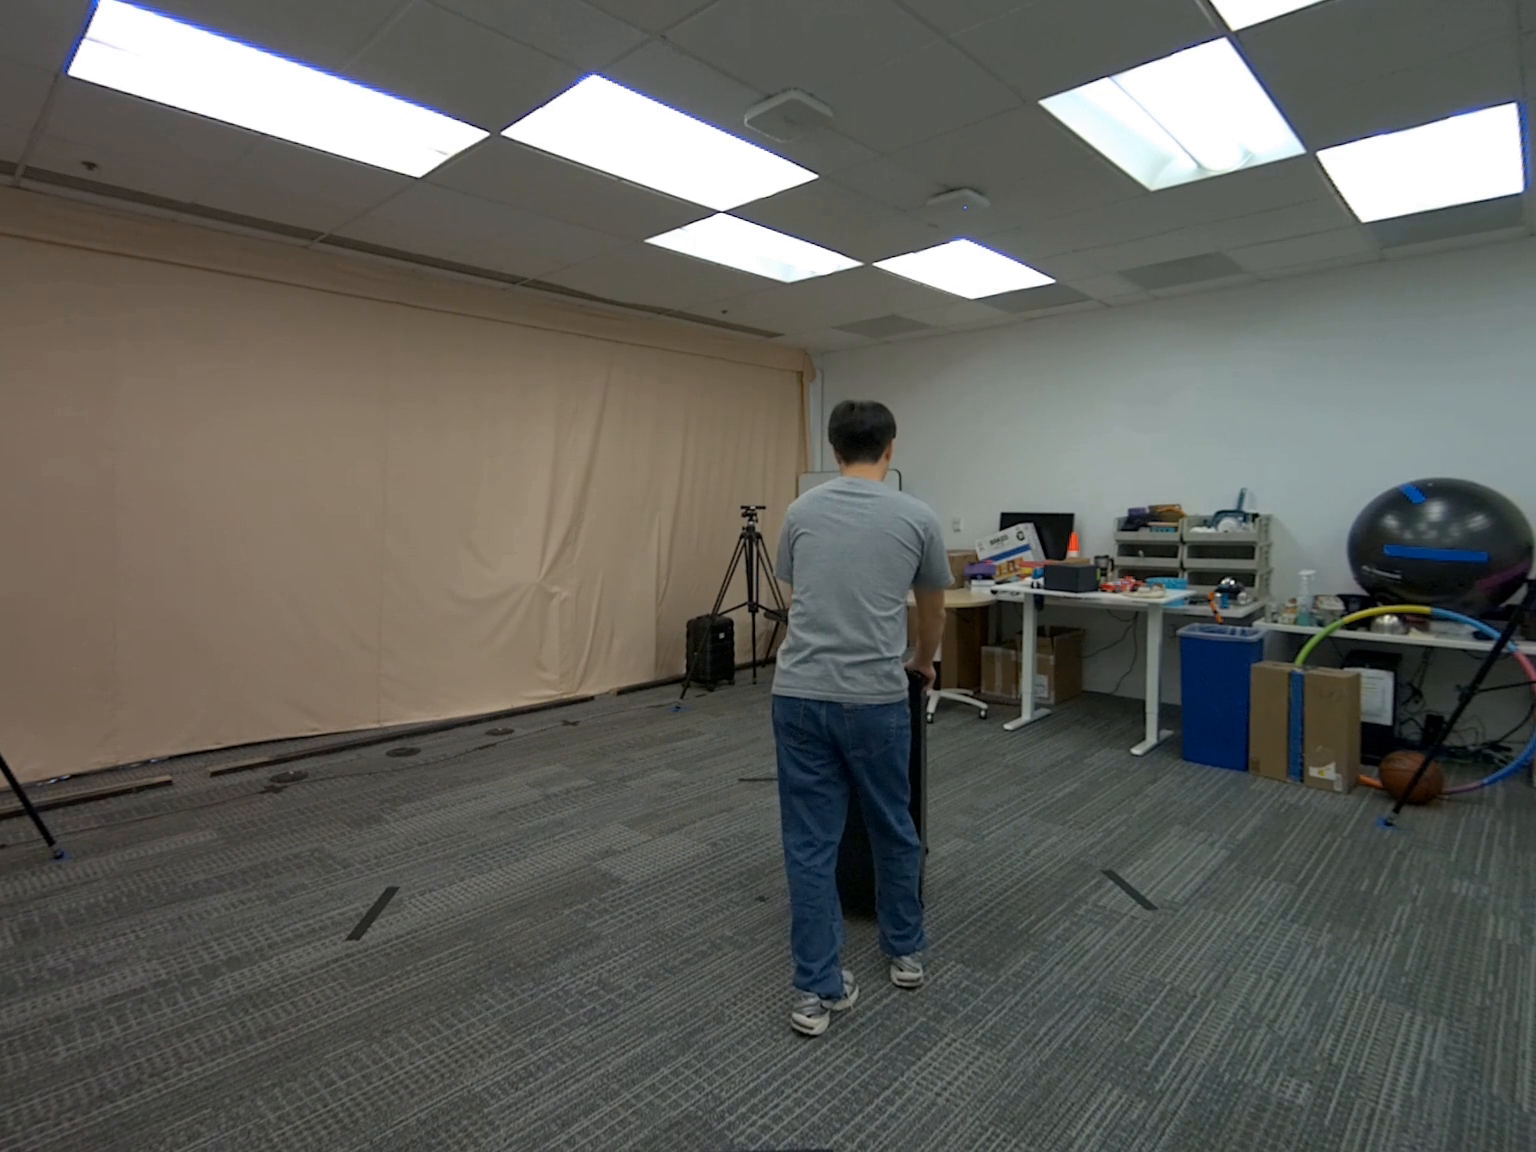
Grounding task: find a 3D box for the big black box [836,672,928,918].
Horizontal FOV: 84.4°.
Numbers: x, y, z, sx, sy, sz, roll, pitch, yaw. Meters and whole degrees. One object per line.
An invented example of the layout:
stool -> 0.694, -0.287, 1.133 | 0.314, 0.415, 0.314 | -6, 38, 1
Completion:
big black box -> 0.373, 0.721, 2.988 | 0.403, 0.860, 0.514 | 0, 3, 14
